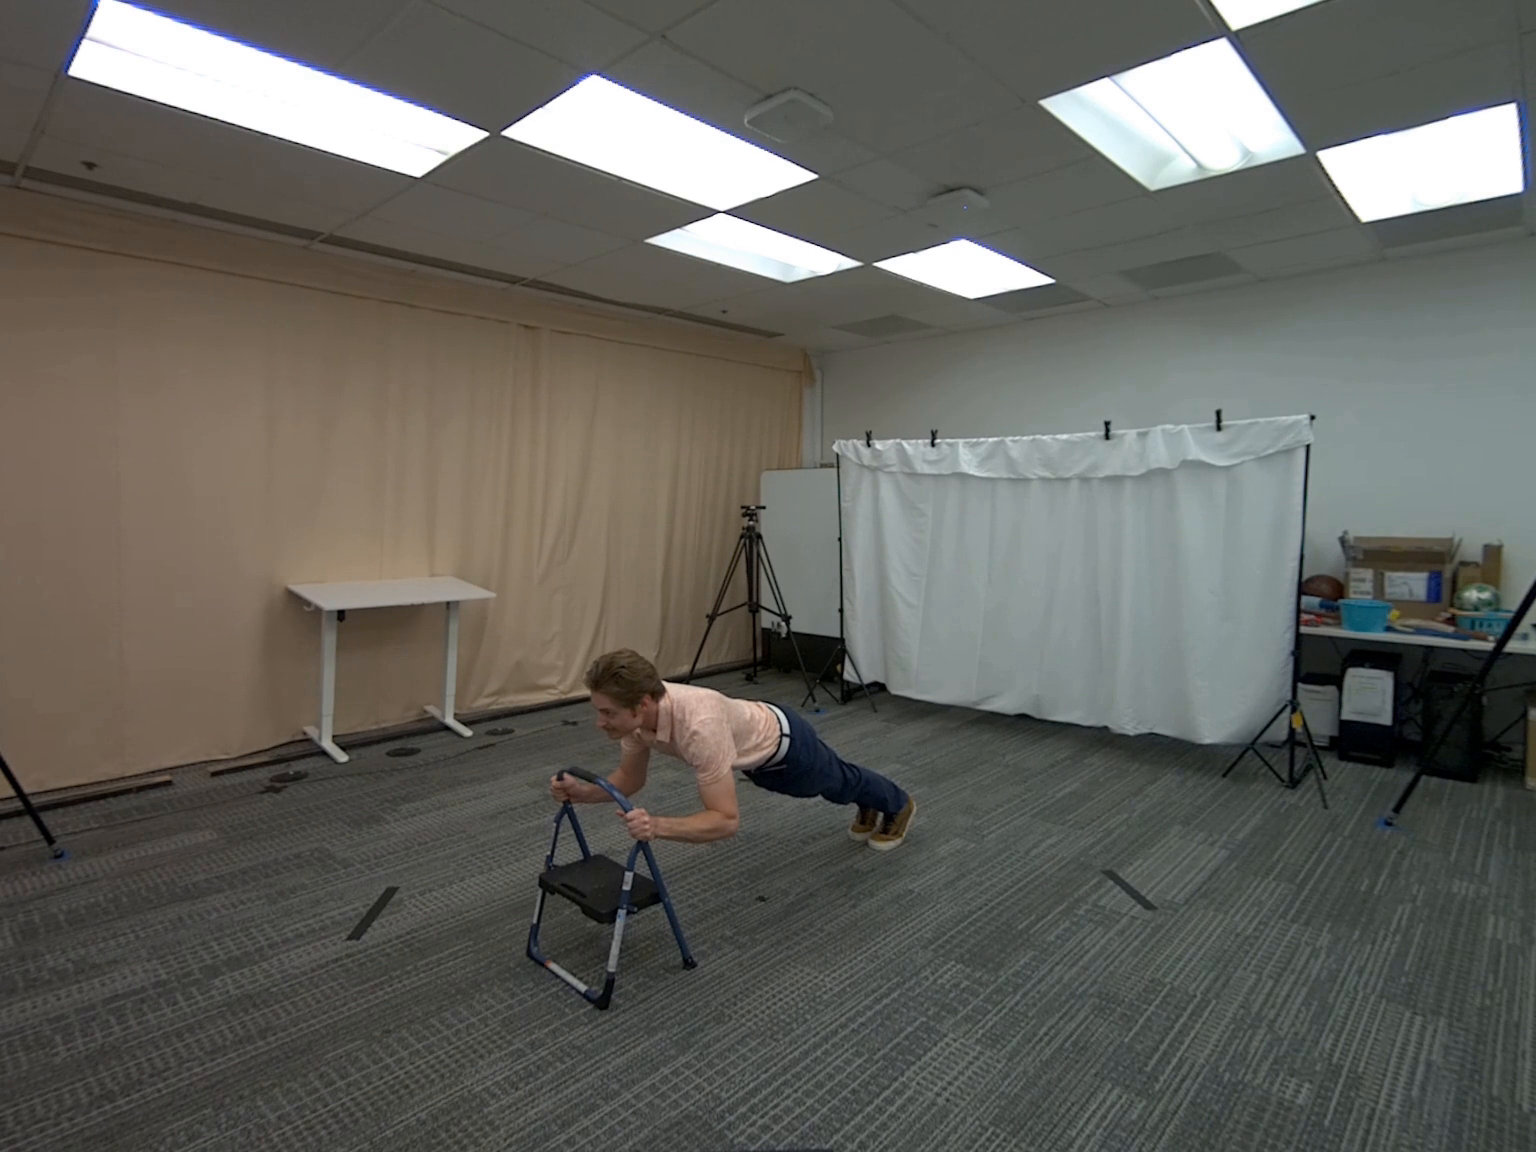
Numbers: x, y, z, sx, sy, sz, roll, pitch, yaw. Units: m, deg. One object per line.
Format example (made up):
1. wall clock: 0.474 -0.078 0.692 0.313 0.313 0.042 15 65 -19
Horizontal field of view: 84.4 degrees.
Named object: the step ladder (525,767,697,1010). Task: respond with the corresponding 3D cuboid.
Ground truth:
1. step ladder: -0.489 0.883 2.565 0.445 0.605 0.338 3 5 44
